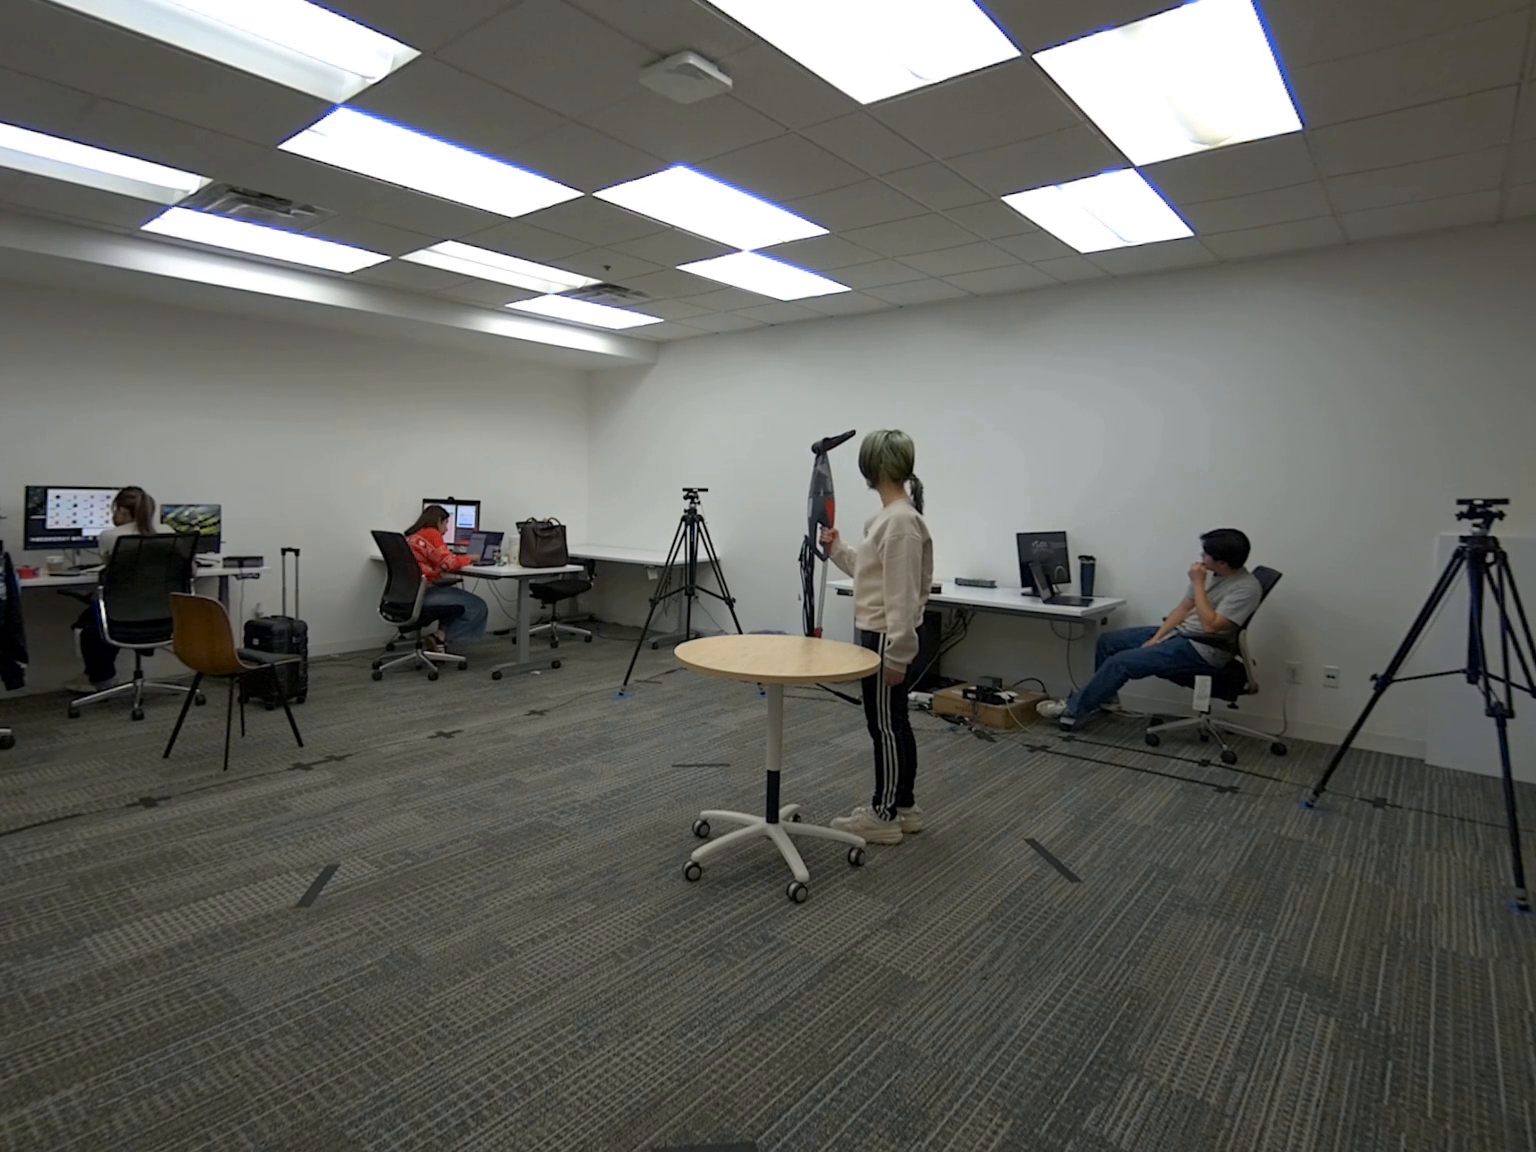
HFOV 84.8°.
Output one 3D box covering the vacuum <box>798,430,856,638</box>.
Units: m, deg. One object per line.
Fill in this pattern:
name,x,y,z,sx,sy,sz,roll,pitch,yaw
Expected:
vacuum,0.212,-0.090,3.679,0.142,1.056,0.255,7,-8,-14
